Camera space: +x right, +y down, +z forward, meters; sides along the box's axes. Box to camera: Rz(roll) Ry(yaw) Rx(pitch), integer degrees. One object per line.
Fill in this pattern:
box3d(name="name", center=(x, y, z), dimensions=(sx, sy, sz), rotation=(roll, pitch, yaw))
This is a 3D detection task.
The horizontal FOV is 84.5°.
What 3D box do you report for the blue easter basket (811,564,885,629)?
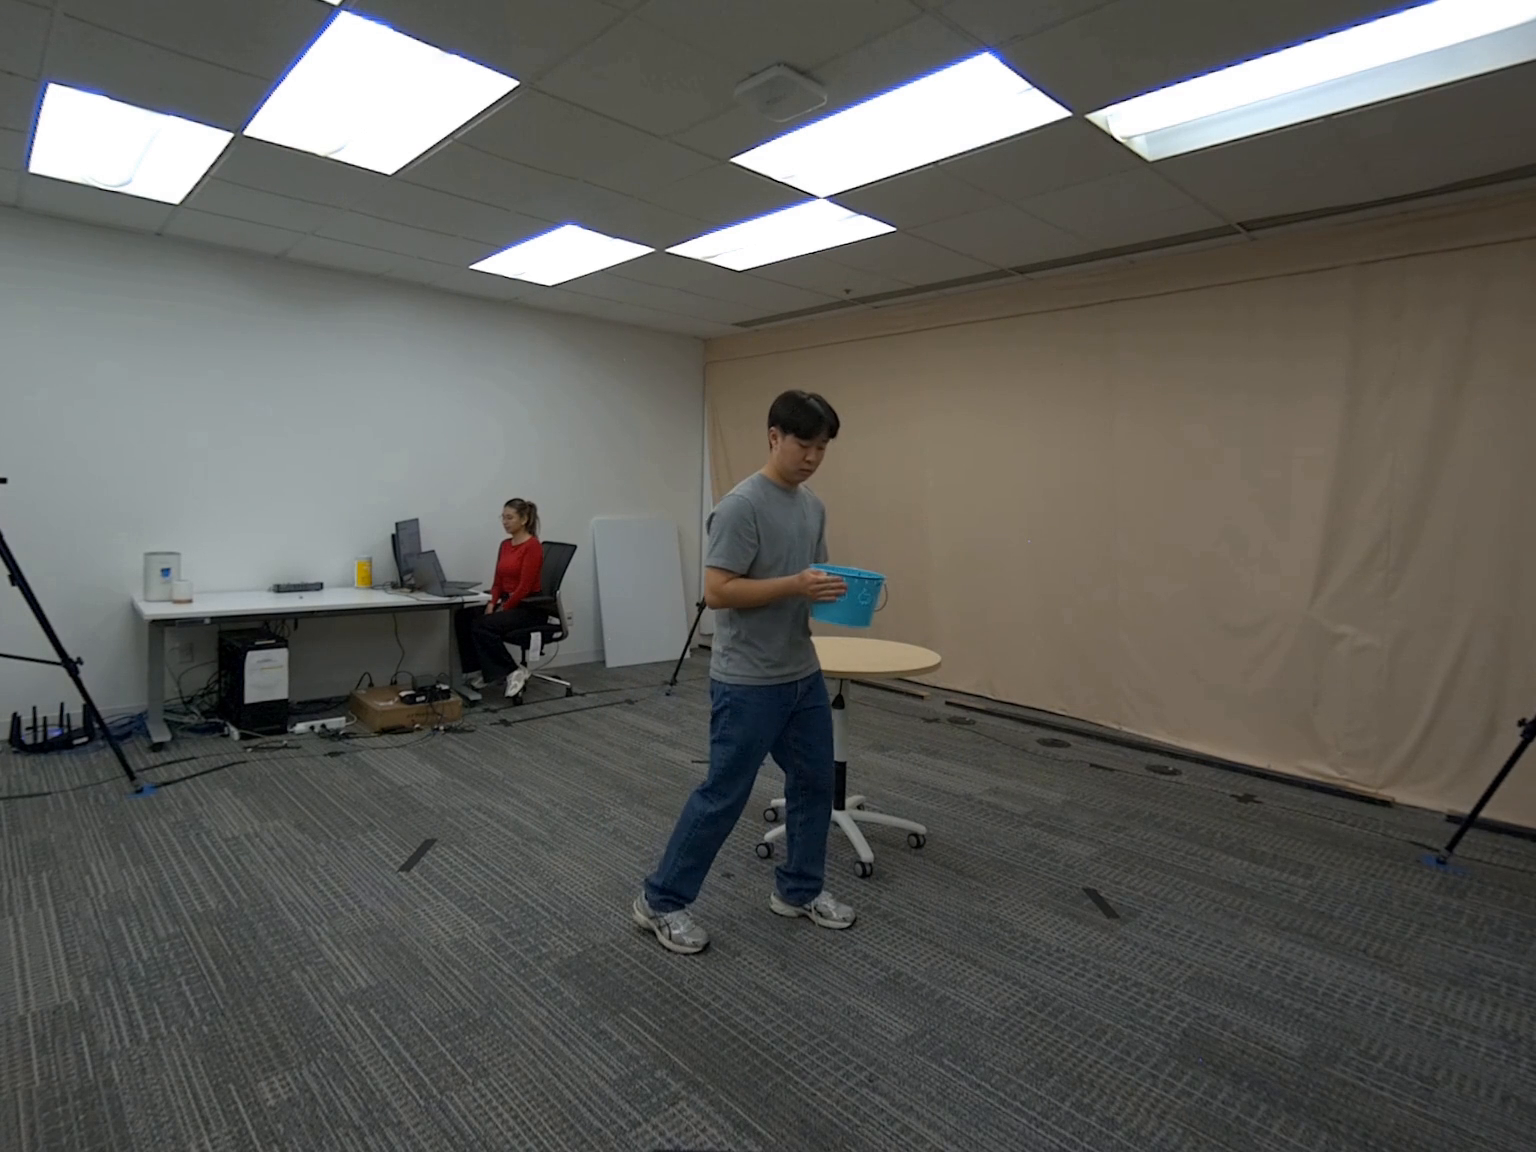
box3d(name="blue easter basket", center=(0.198, 0.053, 2.509), dimensions=(0.243, 0.155, 0.244), rotation=(7, 3, -2))
